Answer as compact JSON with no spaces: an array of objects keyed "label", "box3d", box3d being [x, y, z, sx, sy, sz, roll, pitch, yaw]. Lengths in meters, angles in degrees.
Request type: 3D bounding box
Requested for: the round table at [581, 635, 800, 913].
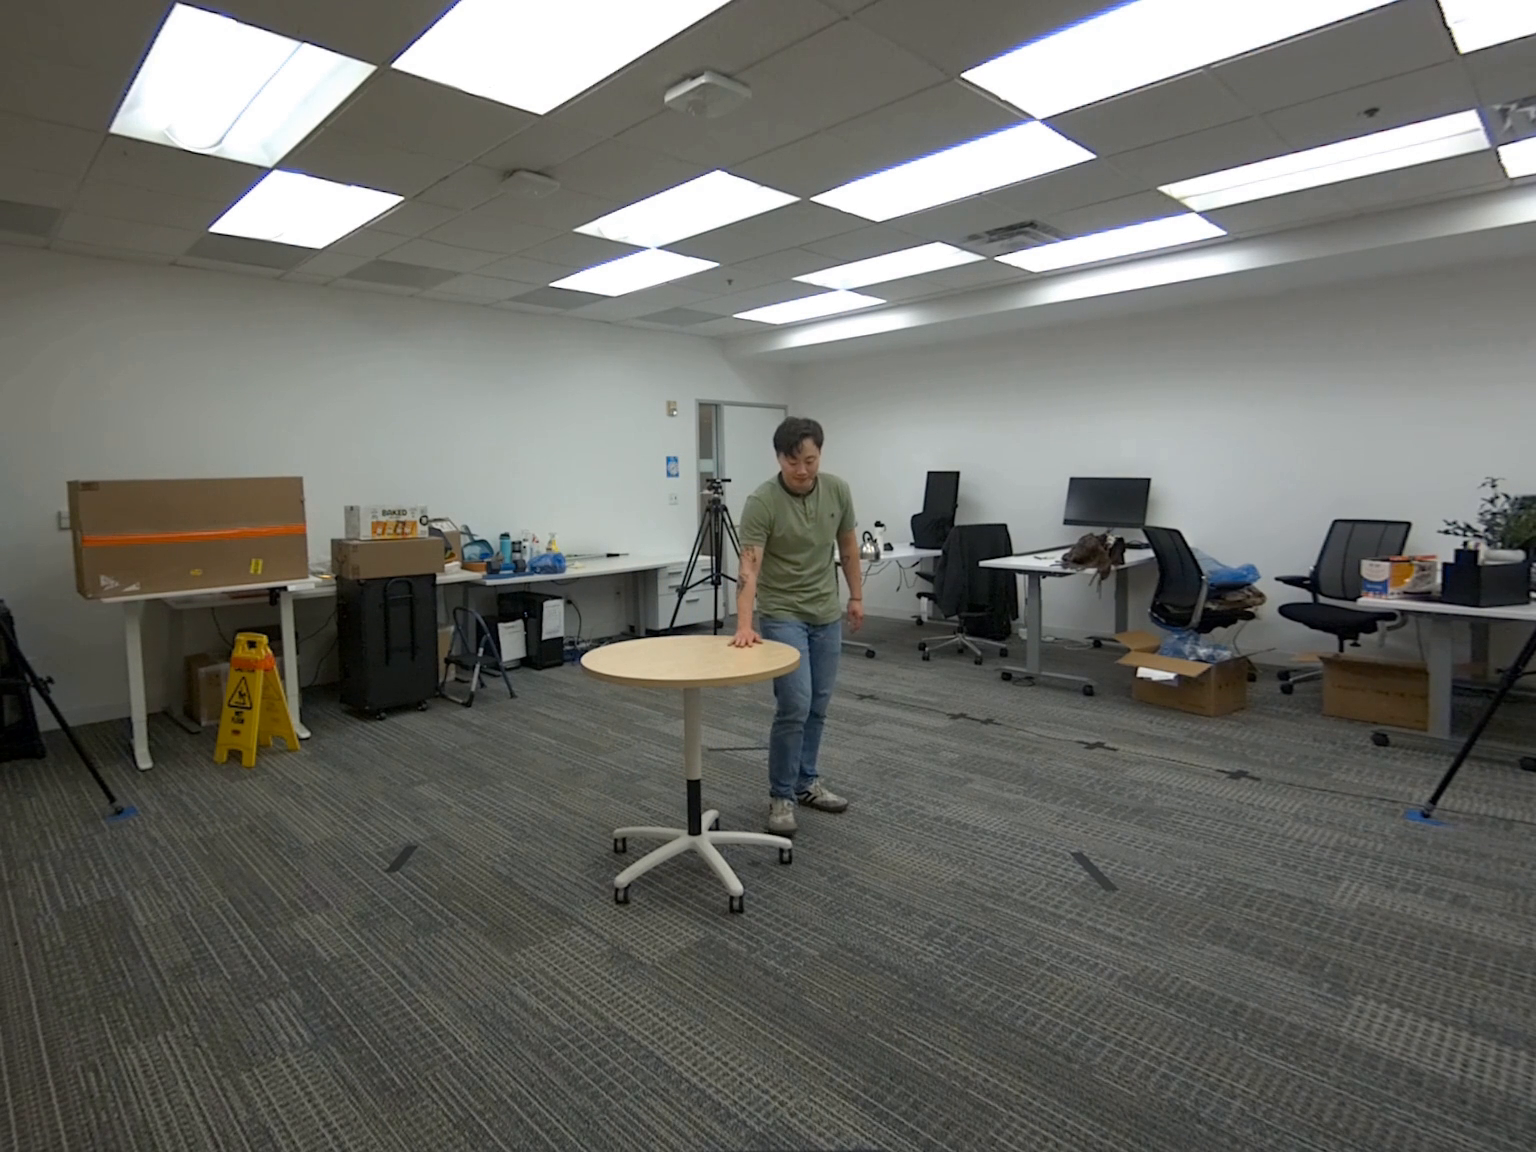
[{"label":"round table","box3d":[-0.263,0.670,3.019,0.763,0.791,0.768,-1,5,-2]}]
